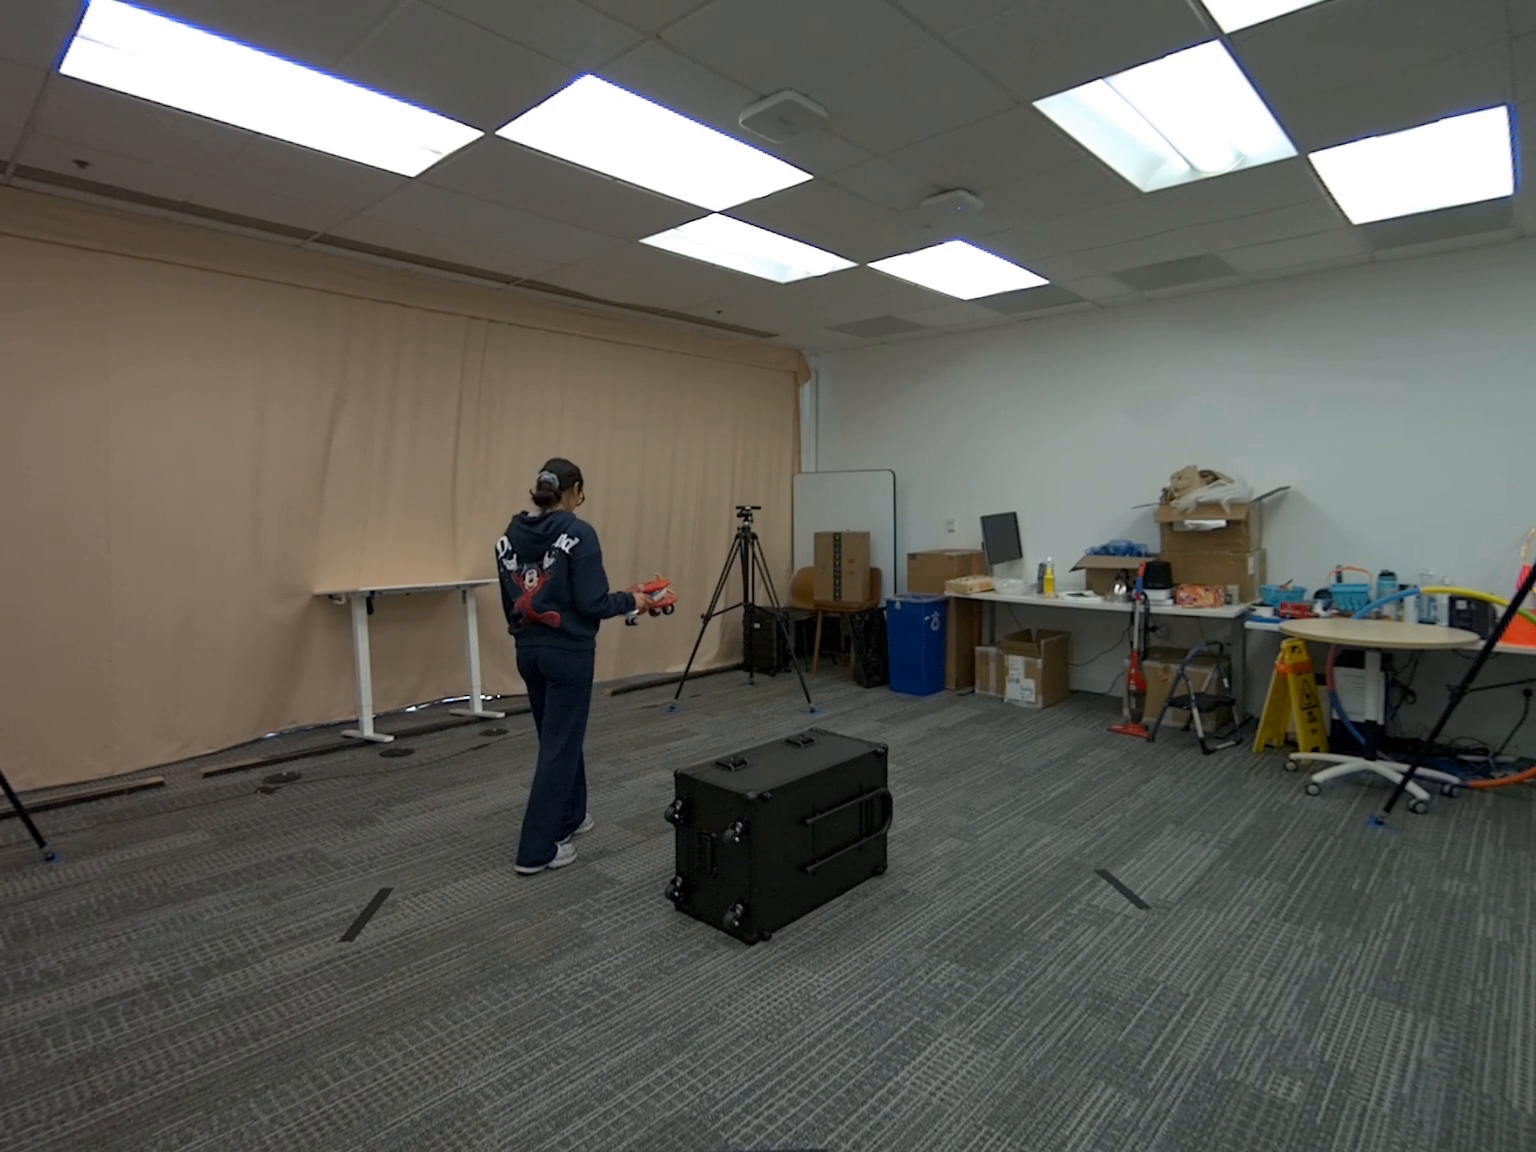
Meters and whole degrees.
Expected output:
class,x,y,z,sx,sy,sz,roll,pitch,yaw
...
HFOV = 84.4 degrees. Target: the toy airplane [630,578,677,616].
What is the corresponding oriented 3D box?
class,x,y,z,sx,sy,sz,roll,pitch,yaw
toy airplane,-0.495,0.108,3.564,0.254,0.156,0.257,-12,5,13
